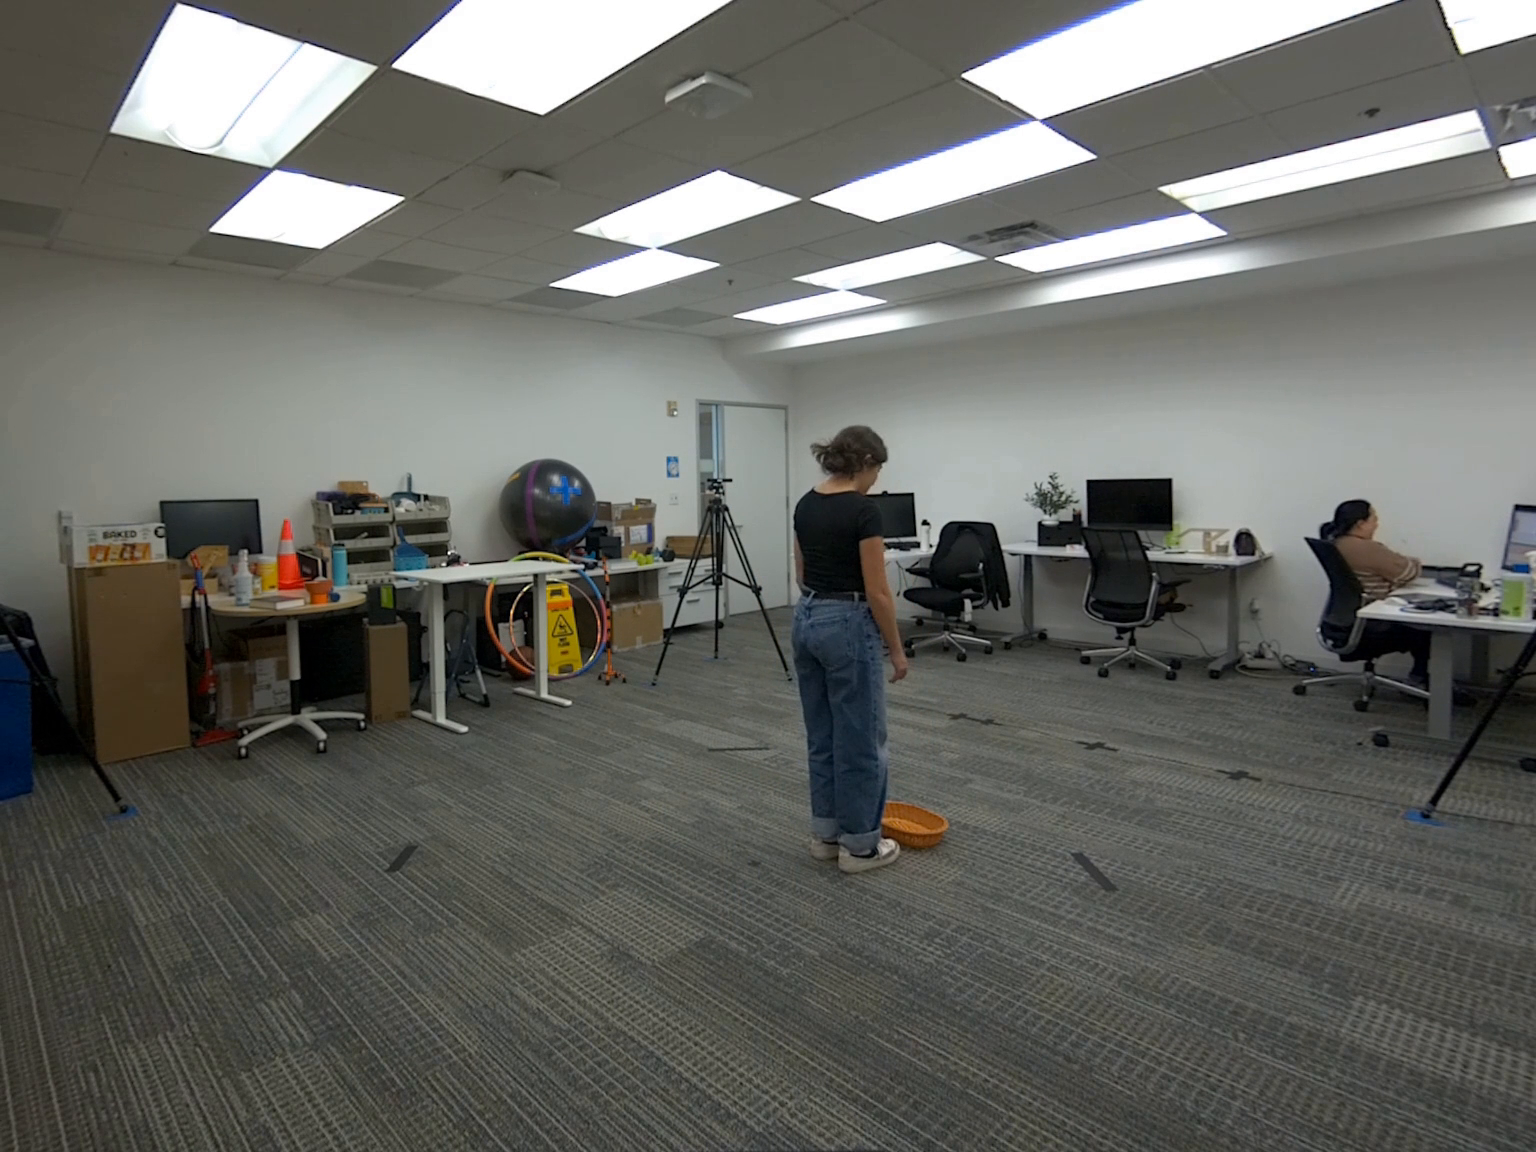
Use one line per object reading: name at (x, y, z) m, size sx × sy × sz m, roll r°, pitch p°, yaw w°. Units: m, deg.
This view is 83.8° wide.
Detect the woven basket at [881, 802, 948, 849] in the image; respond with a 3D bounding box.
woven basket at (0.537, 0.970, 3.337) m, size 0.246 × 0.073 × 0.361 m, roll -4°, pitch 6°, yaw -35°
